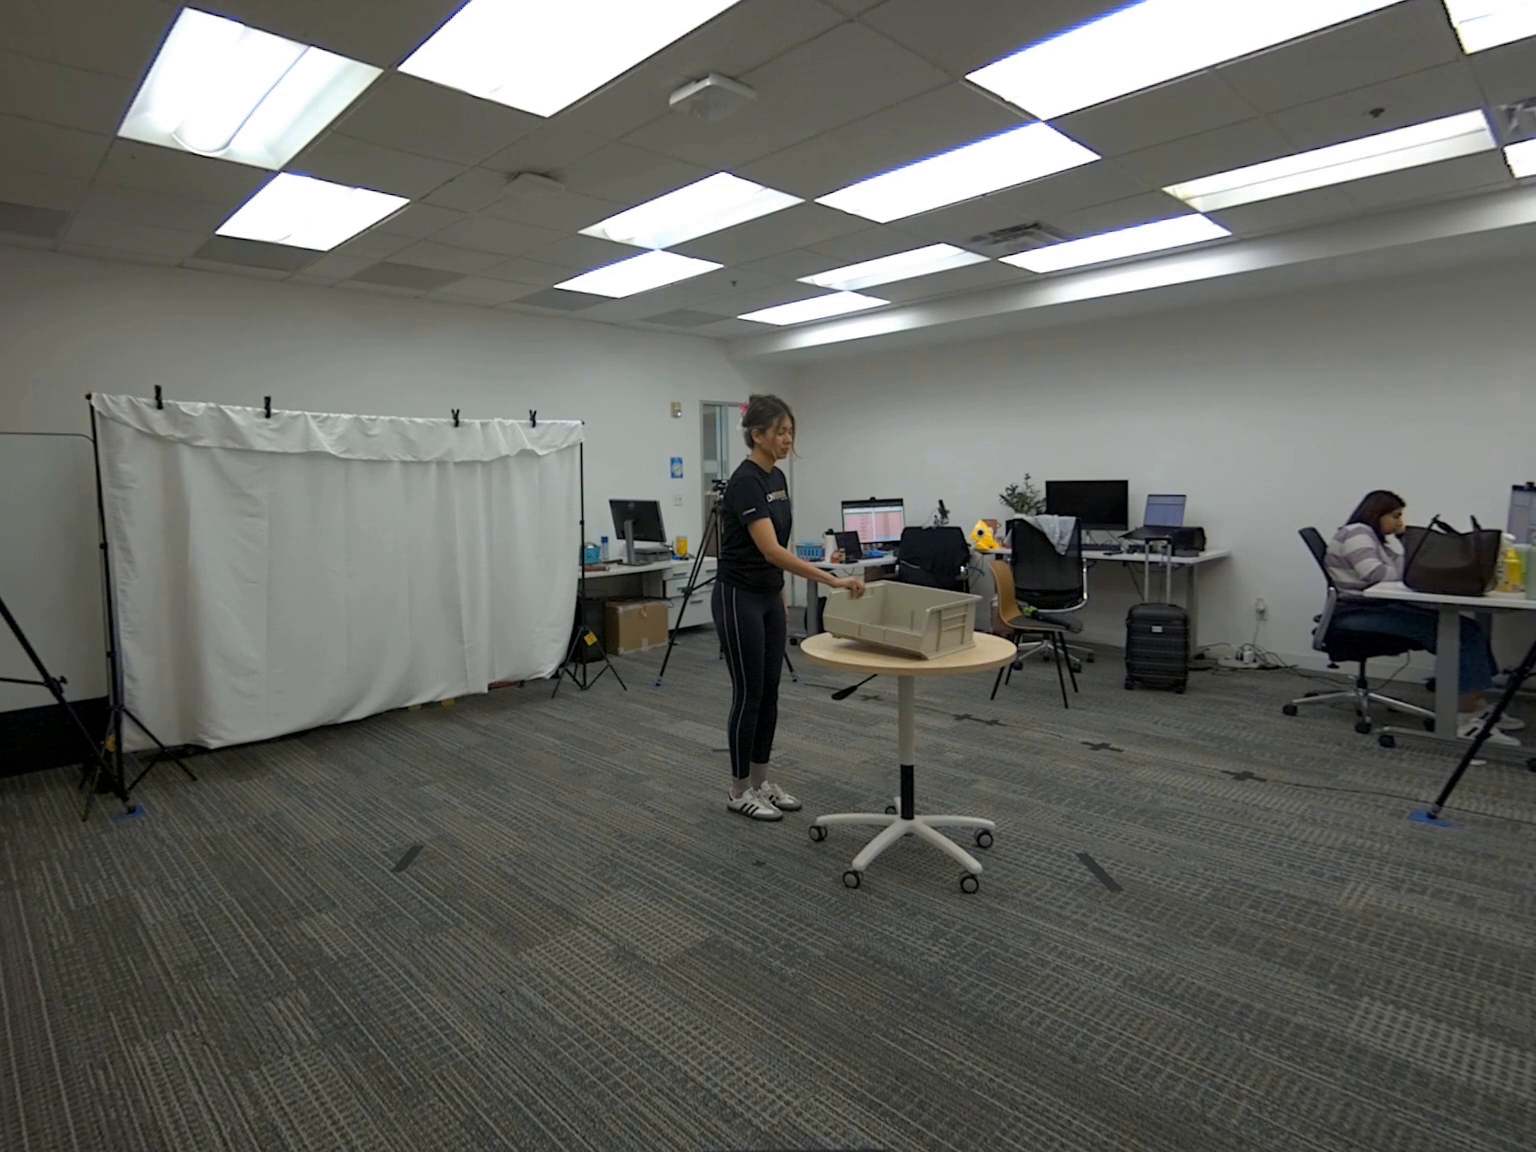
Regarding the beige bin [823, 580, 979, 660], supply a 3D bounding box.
[{"bbox_3d":[0.483,0.152,3.068,0.436,0.188,0.367,9,10,43],"label":"beige bin"}]
